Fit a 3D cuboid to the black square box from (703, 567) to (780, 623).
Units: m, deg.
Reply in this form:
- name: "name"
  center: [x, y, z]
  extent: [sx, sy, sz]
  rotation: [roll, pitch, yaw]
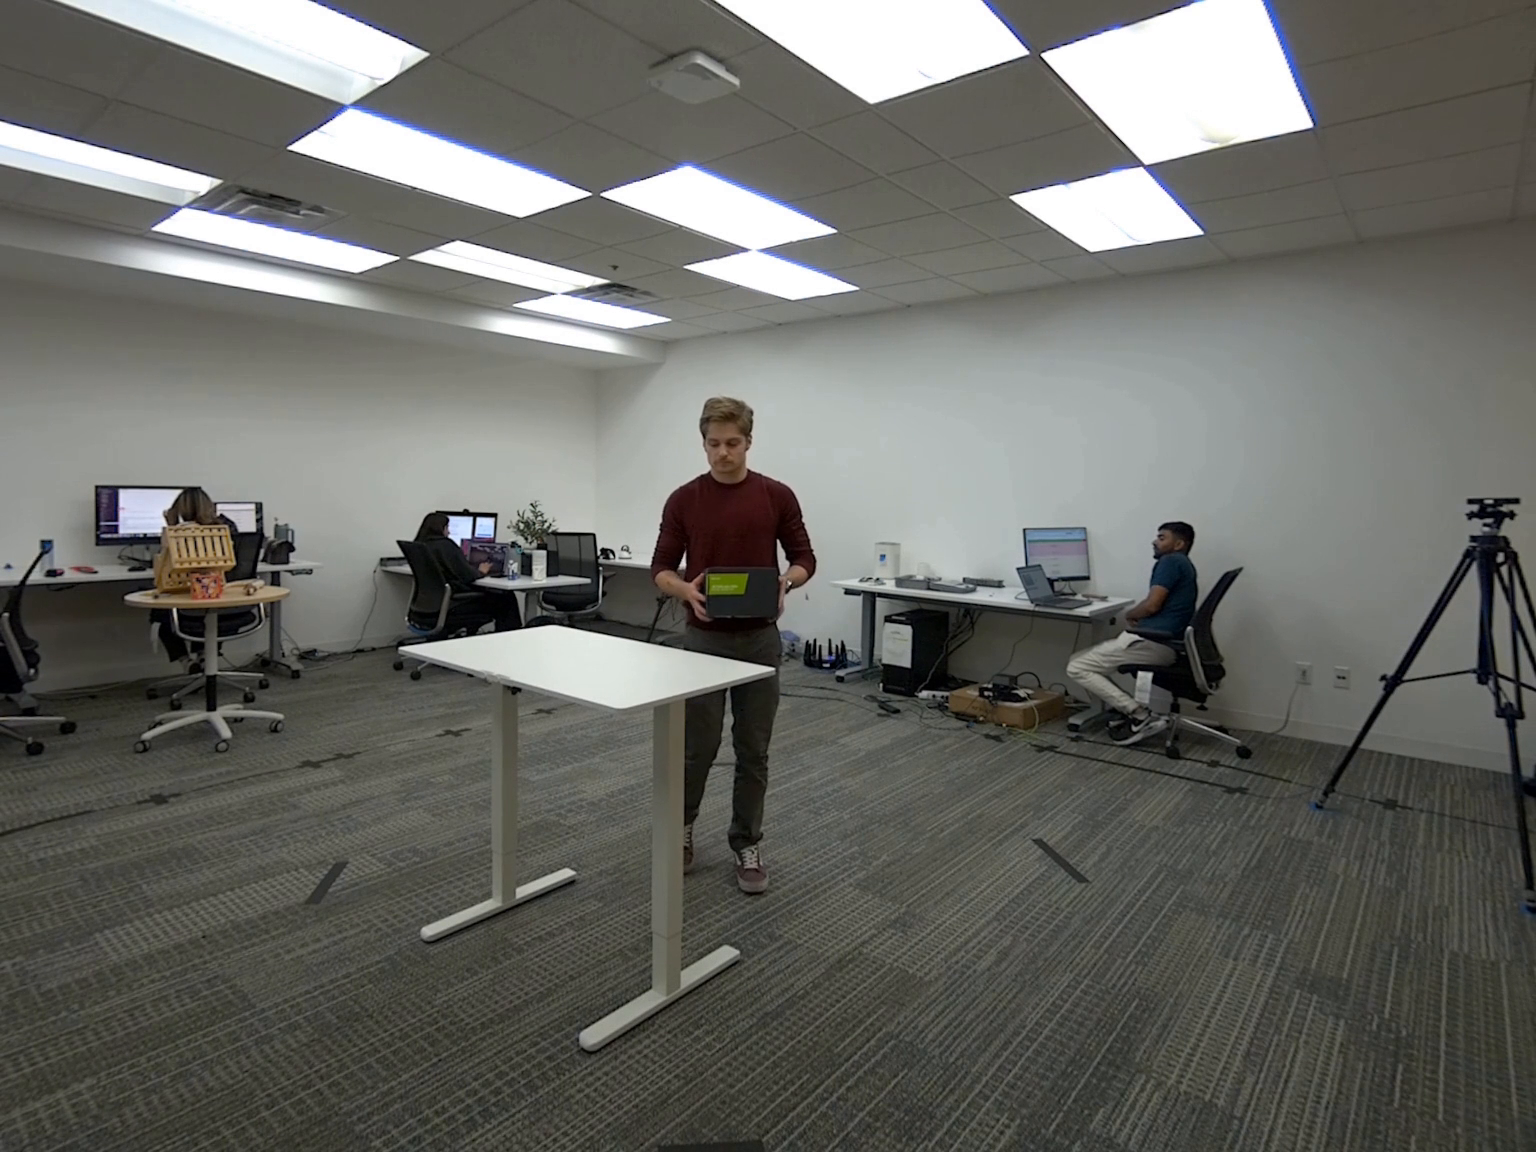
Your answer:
- name: "black square box"
  center: [-0.100, 0.049, 2.796]
  extent: [0.227, 0.156, 0.217]
  rotation: [0, -3, -4]
